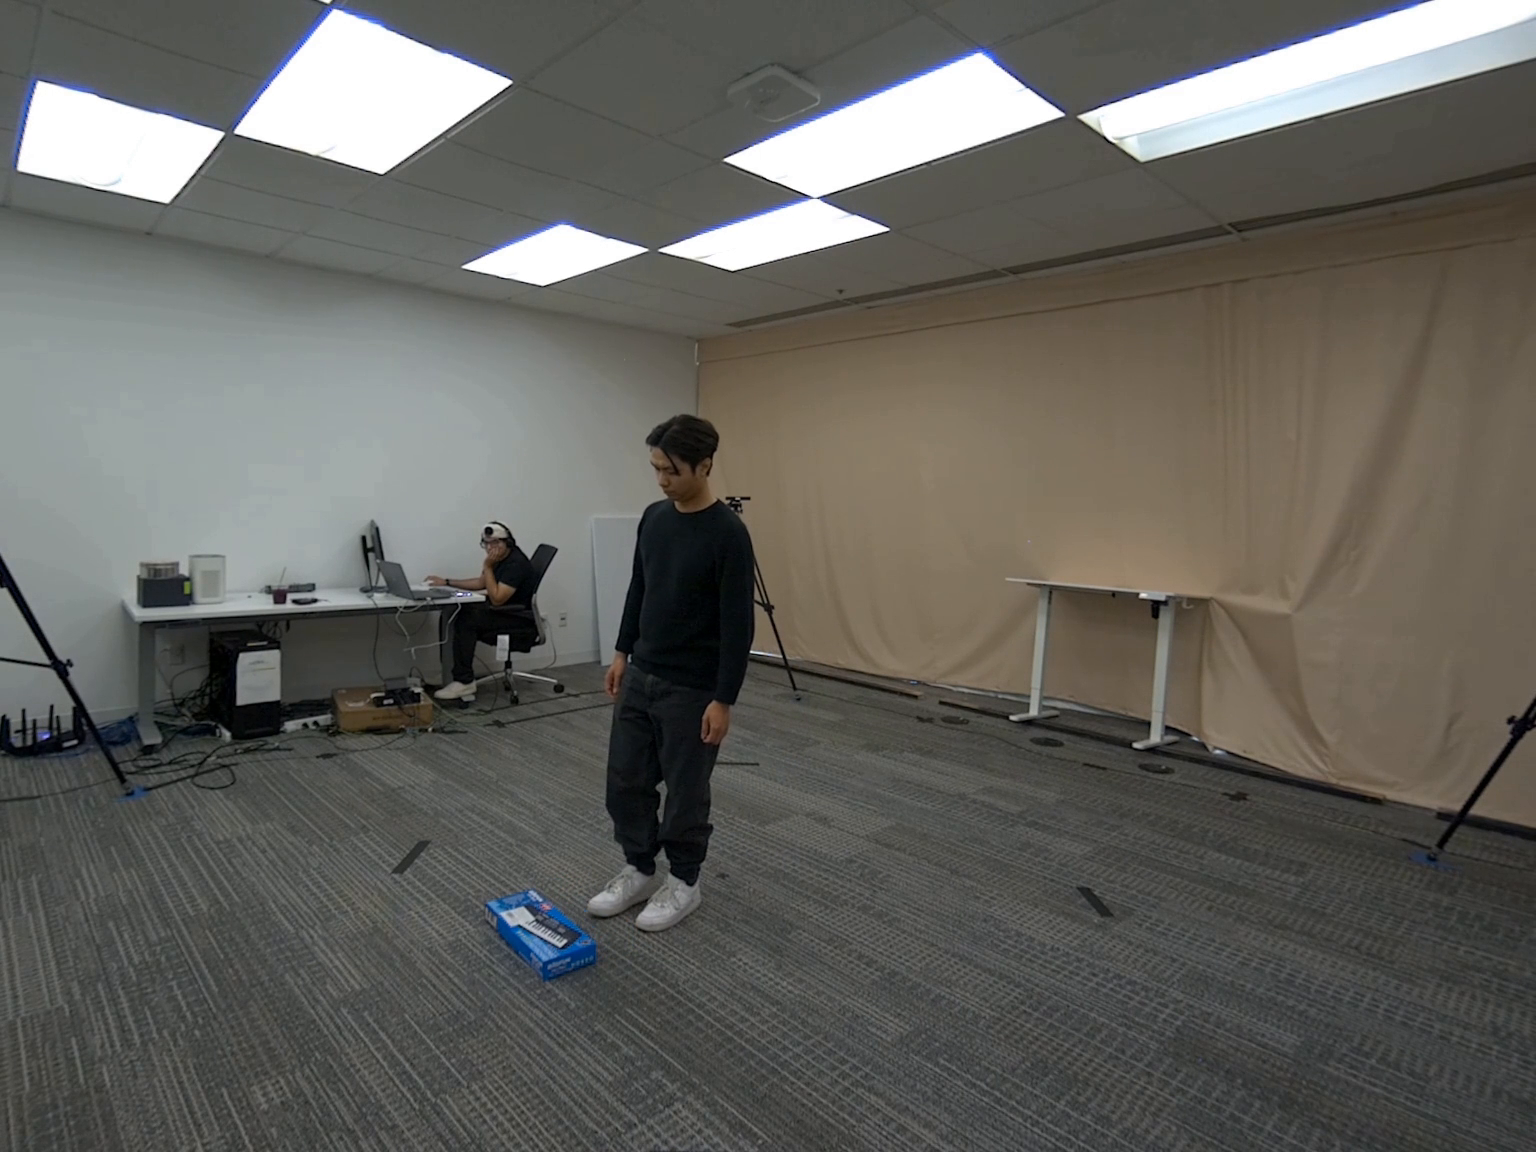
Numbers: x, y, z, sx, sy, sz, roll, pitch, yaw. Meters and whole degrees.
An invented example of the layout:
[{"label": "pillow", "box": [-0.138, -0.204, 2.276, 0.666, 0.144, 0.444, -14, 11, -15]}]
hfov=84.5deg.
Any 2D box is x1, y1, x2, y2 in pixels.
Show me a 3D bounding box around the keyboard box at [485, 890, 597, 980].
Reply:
[{"label": "keyboard box", "box": [-0.724, 1.112, 2.615, 0.172, 0.059, 0.448, -4, 7, -39]}]
